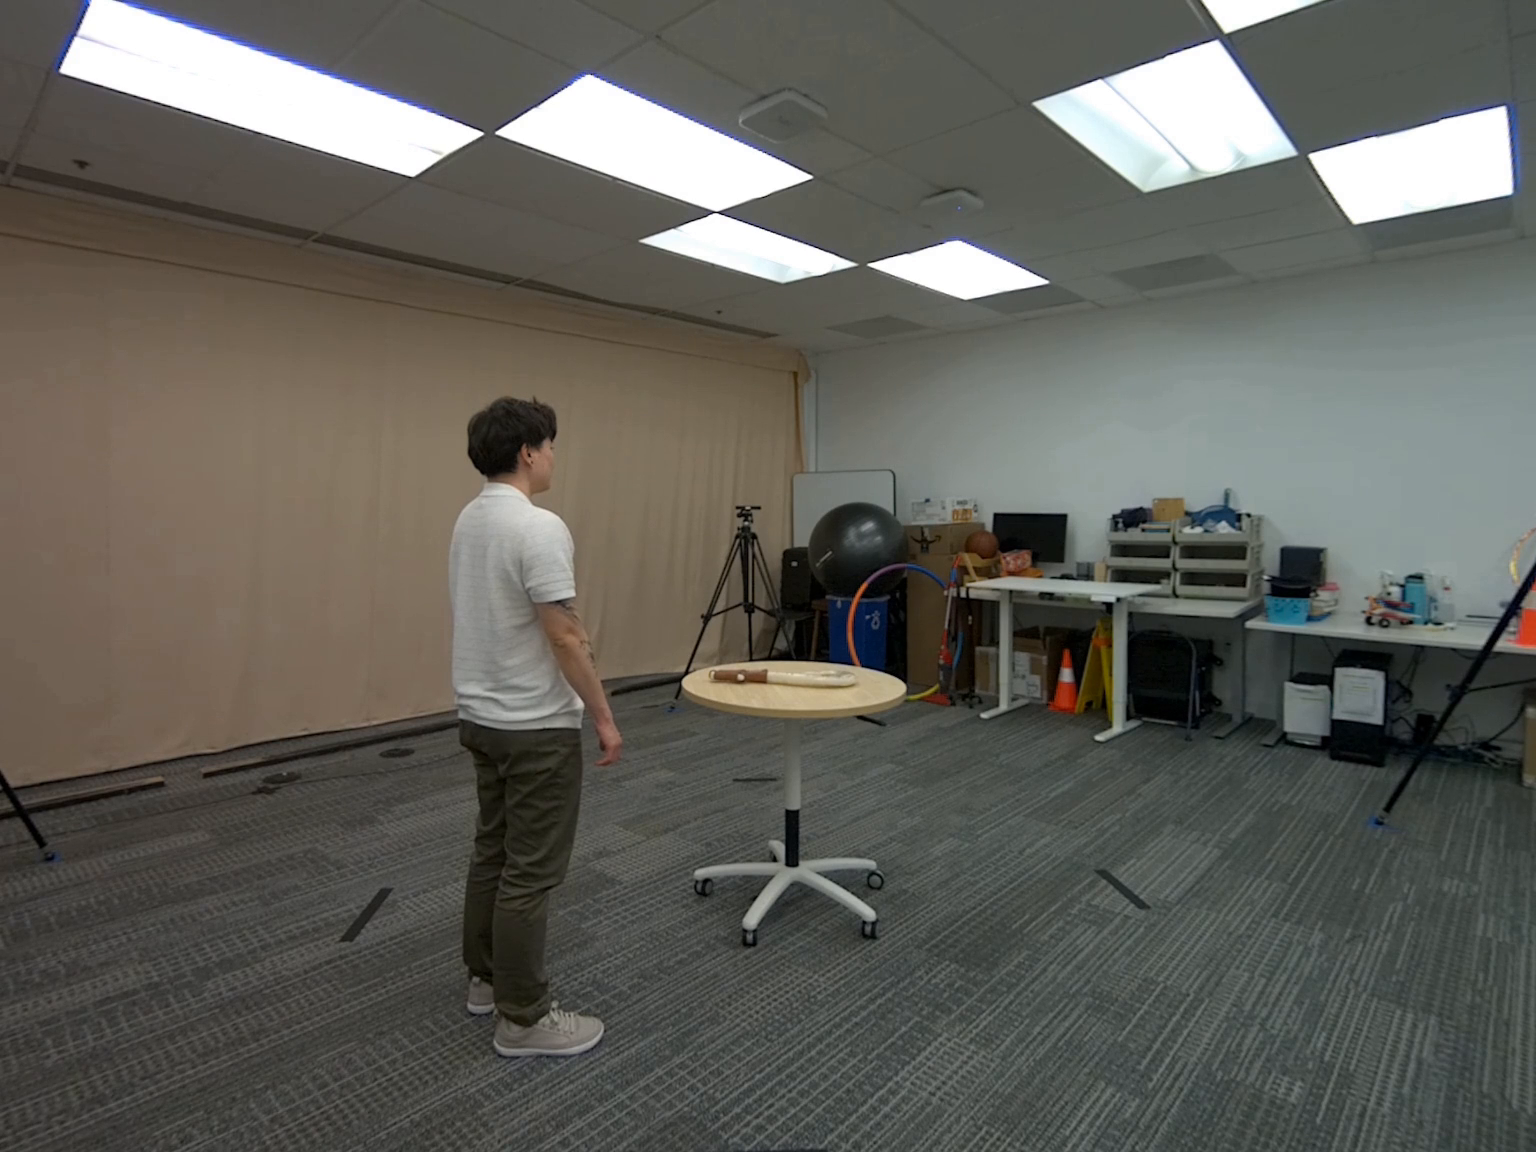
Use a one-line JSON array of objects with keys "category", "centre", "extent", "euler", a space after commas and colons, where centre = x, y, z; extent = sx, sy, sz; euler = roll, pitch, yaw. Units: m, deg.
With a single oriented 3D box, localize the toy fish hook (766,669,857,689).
[{"category": "toy fish hook", "centre": [0.057, 0.350, 2.929], "extent": [0.510, 0.048, 0.222], "euler": [2, -3, 6]}]
